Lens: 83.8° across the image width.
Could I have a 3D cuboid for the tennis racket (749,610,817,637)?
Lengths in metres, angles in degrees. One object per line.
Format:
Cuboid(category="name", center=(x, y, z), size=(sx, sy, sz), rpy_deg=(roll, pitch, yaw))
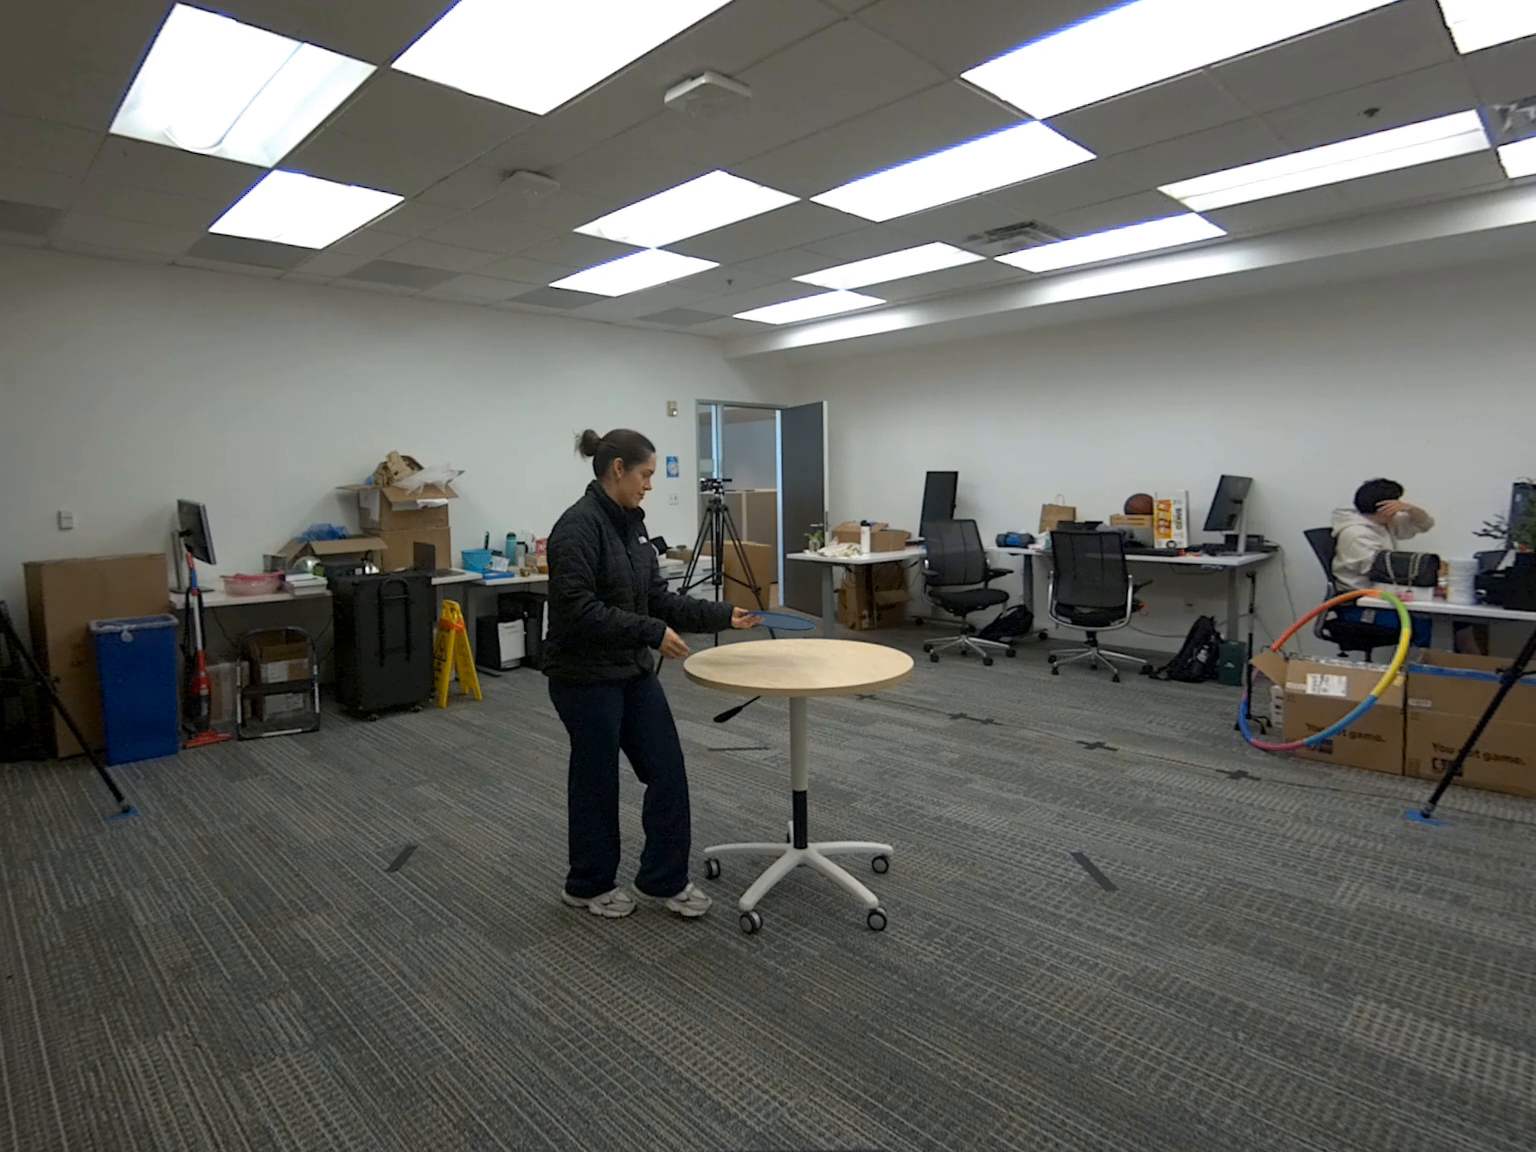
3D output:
Cuboid(category="tennis racket", center=(-0.028, 0.148, 2.927), size=(0.445, 0.032, 0.206), rpy_deg=(3, -18, 32))
